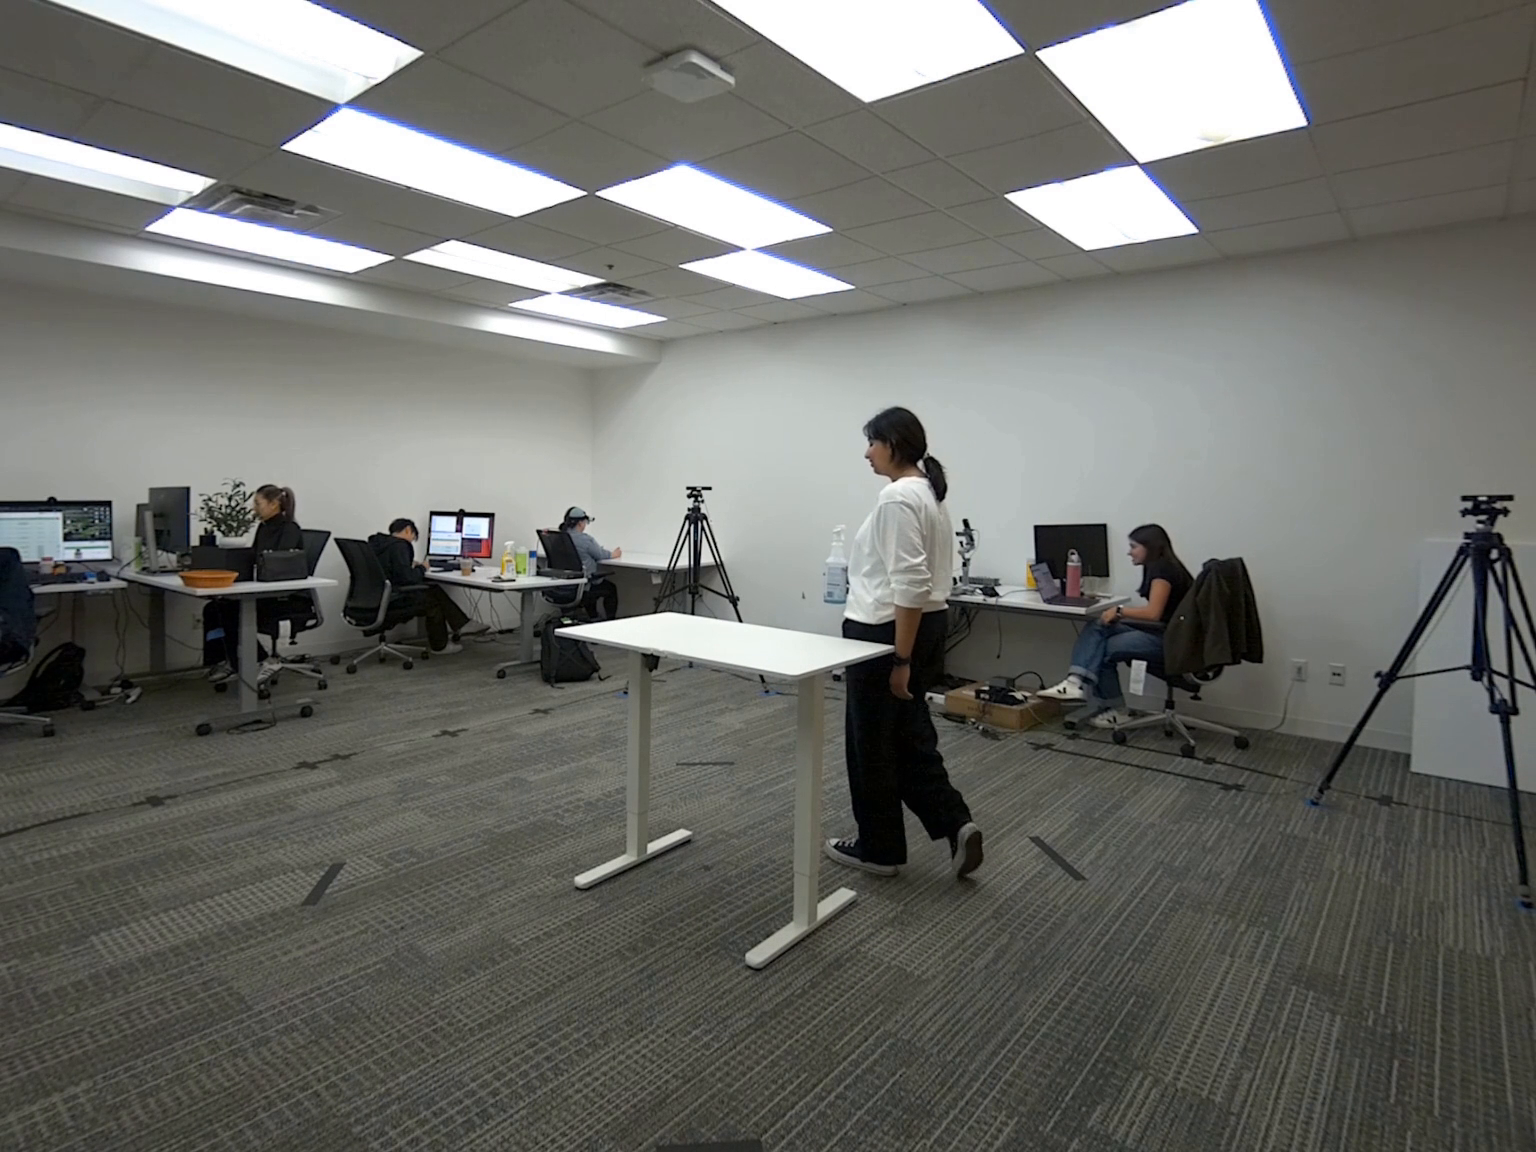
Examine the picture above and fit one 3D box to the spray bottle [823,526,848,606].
[{"bbox_3d":[0.272,-0.039,3.231,0.088,0.296,0.089,5,3,8],"label":"spray bottle"}]
